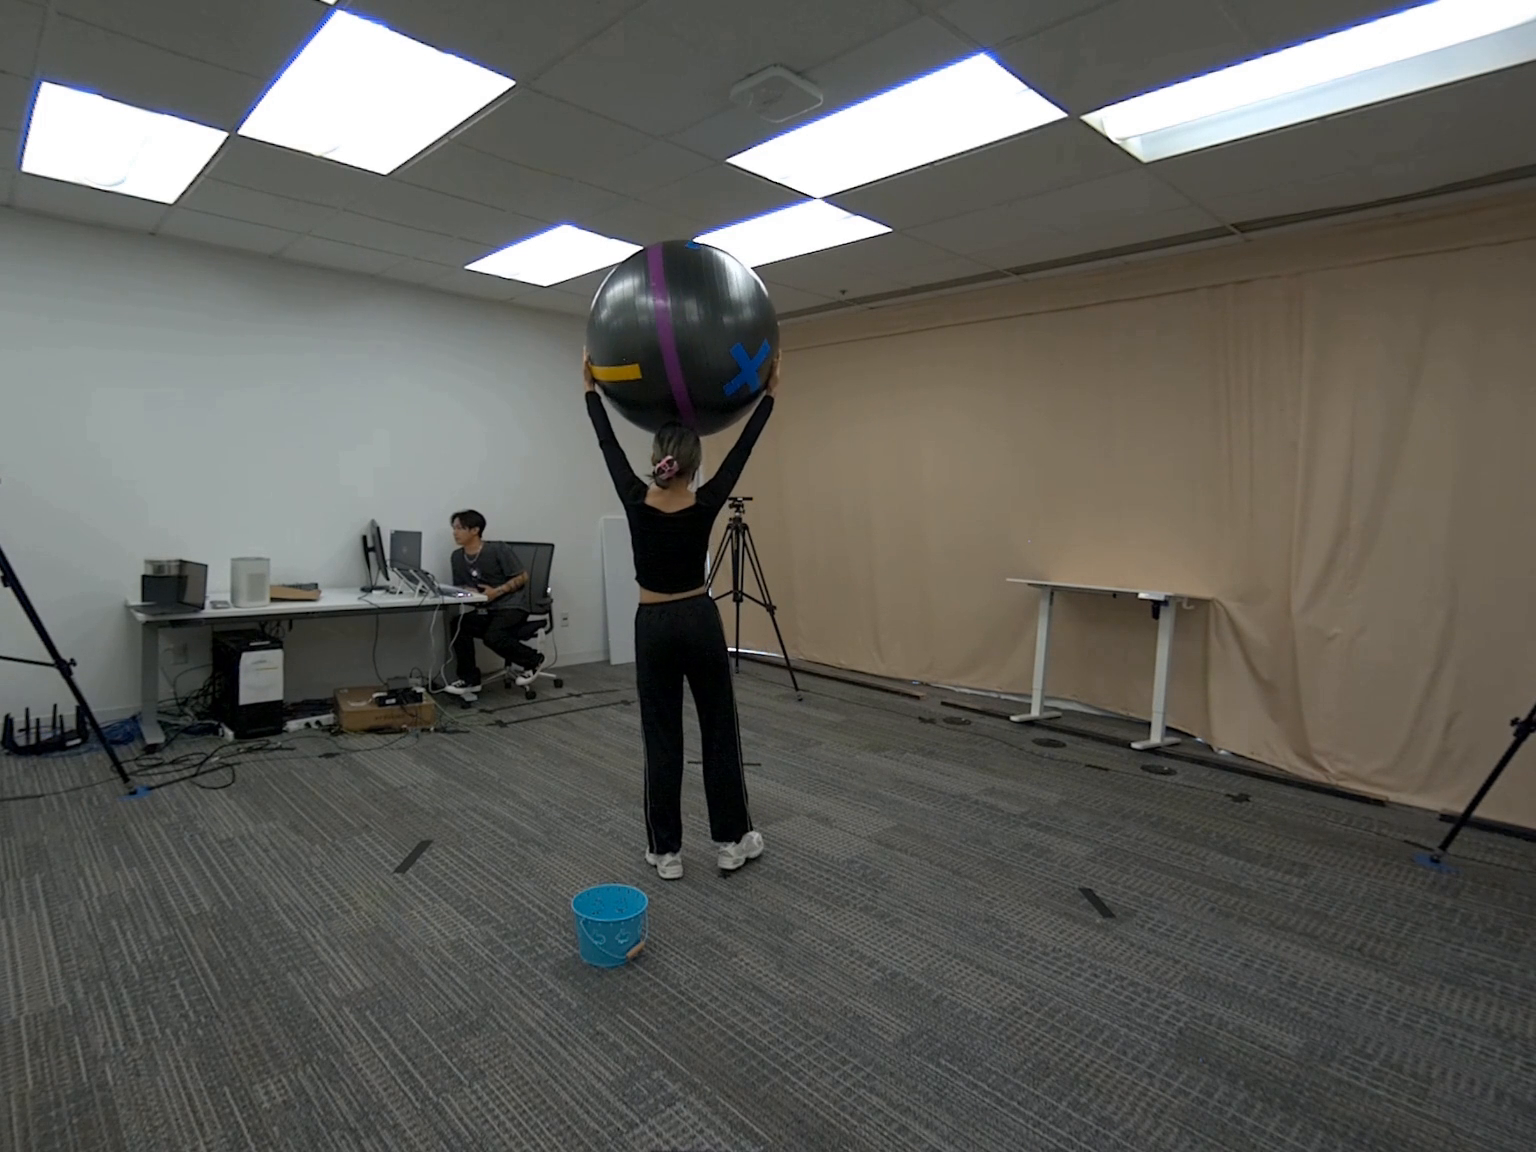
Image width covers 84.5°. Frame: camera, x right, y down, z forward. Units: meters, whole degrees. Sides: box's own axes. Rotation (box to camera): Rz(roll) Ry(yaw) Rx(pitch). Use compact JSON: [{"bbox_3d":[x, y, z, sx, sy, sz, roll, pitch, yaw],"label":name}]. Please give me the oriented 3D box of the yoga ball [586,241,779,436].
[{"bbox_3d":[-0.338,-0.915,3.308,0.757,0.756,0.761,1,4,-1],"label":"yoga ball"}]
